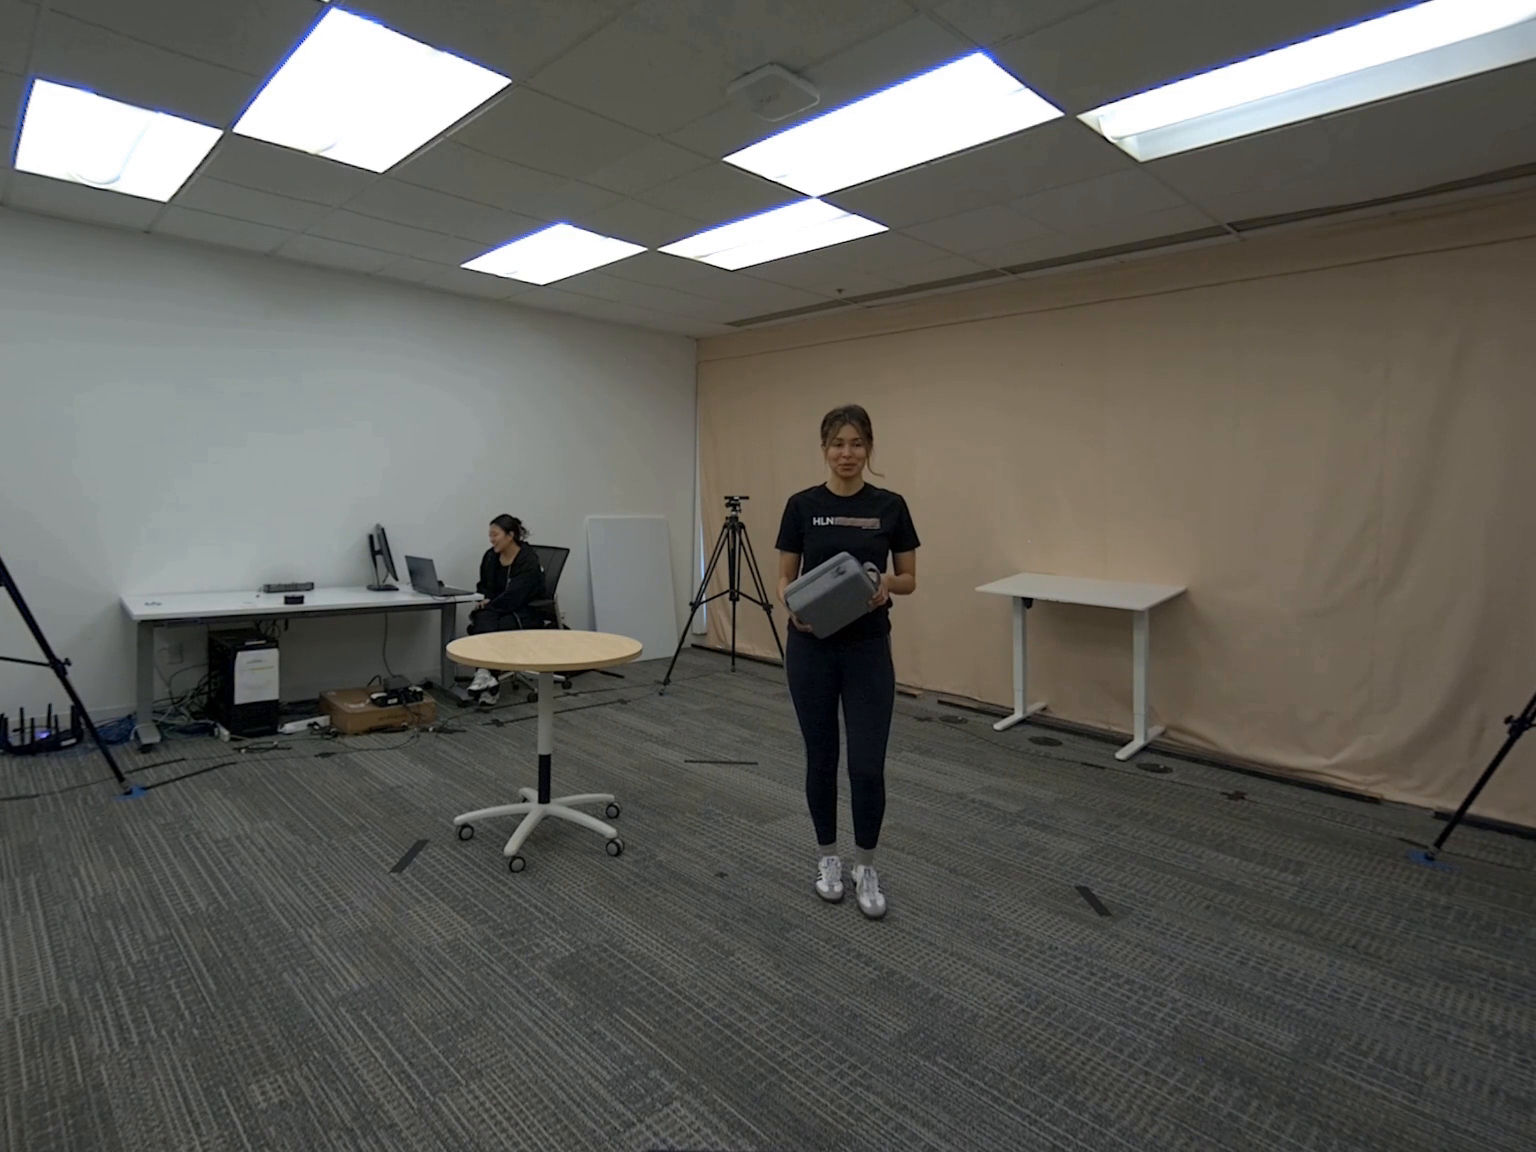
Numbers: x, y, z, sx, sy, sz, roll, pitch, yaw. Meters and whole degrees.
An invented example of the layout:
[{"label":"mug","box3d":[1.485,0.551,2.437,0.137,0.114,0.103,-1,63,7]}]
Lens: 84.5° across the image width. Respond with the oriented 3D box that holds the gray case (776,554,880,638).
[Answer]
[{"label":"gray case","box3d":[0.208,0.067,2.663,0.261,0.107,0.249,-34,-37,11]}]
